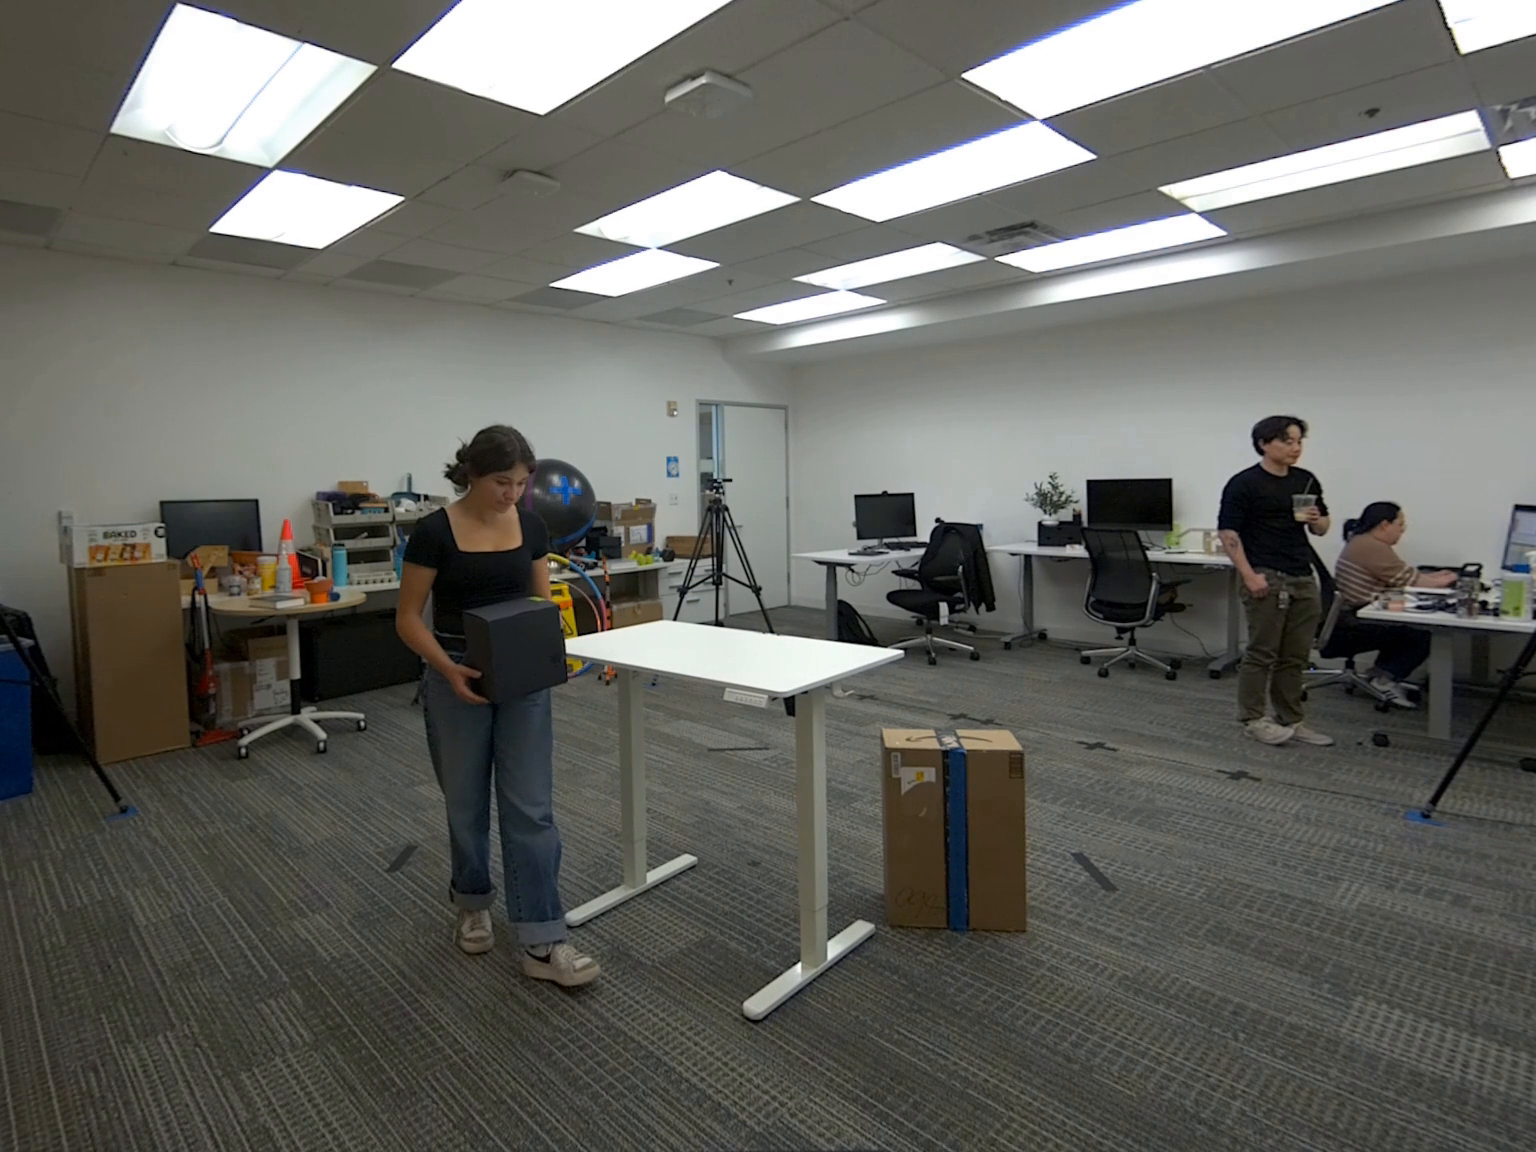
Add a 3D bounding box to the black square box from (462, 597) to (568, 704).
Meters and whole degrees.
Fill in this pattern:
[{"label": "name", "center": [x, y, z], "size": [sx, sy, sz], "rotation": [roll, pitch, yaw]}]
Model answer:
[{"label": "black square box", "center": [-0.692, 0.195, 2.325], "size": [0.212, 0.226, 0.161], "rotation": [-12, 13, -41]}]
